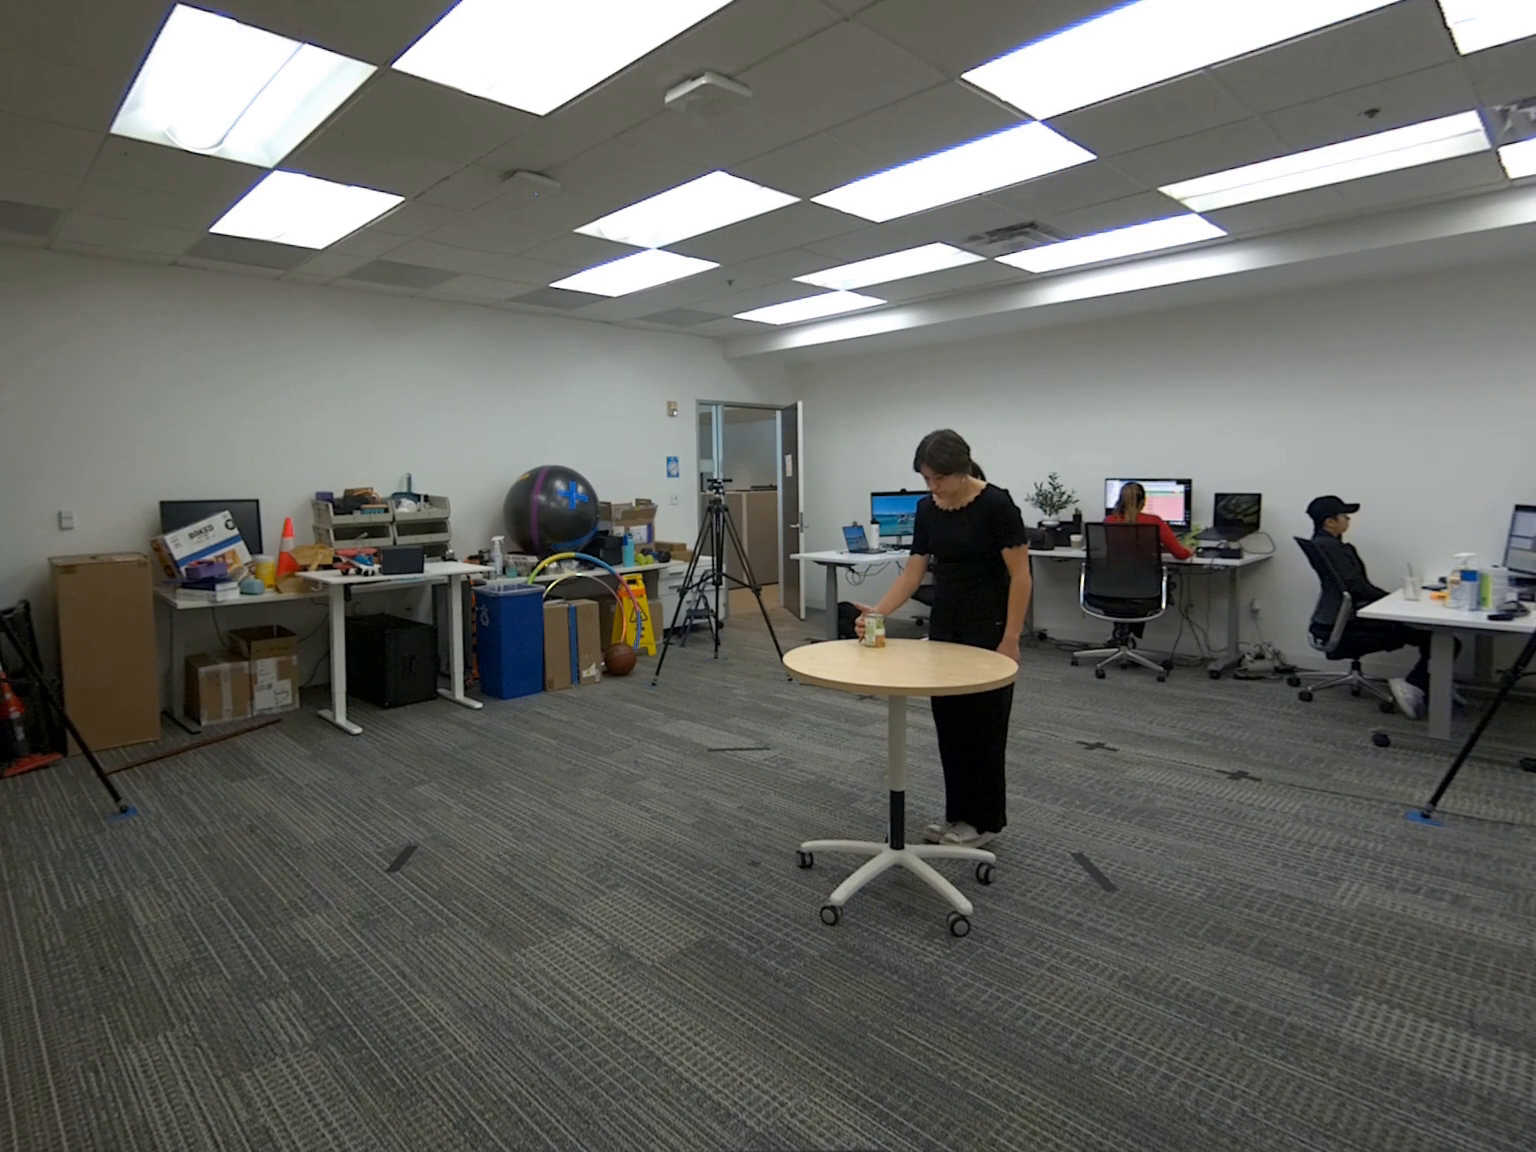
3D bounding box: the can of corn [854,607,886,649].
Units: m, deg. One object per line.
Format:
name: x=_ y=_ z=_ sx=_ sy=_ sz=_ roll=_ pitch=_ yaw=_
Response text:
can of corn: x=0.386 y=0.199 z=3.099 sx=0.074 sy=0.111 sz=0.074 roll=2 pitch=3 yaw=-2
